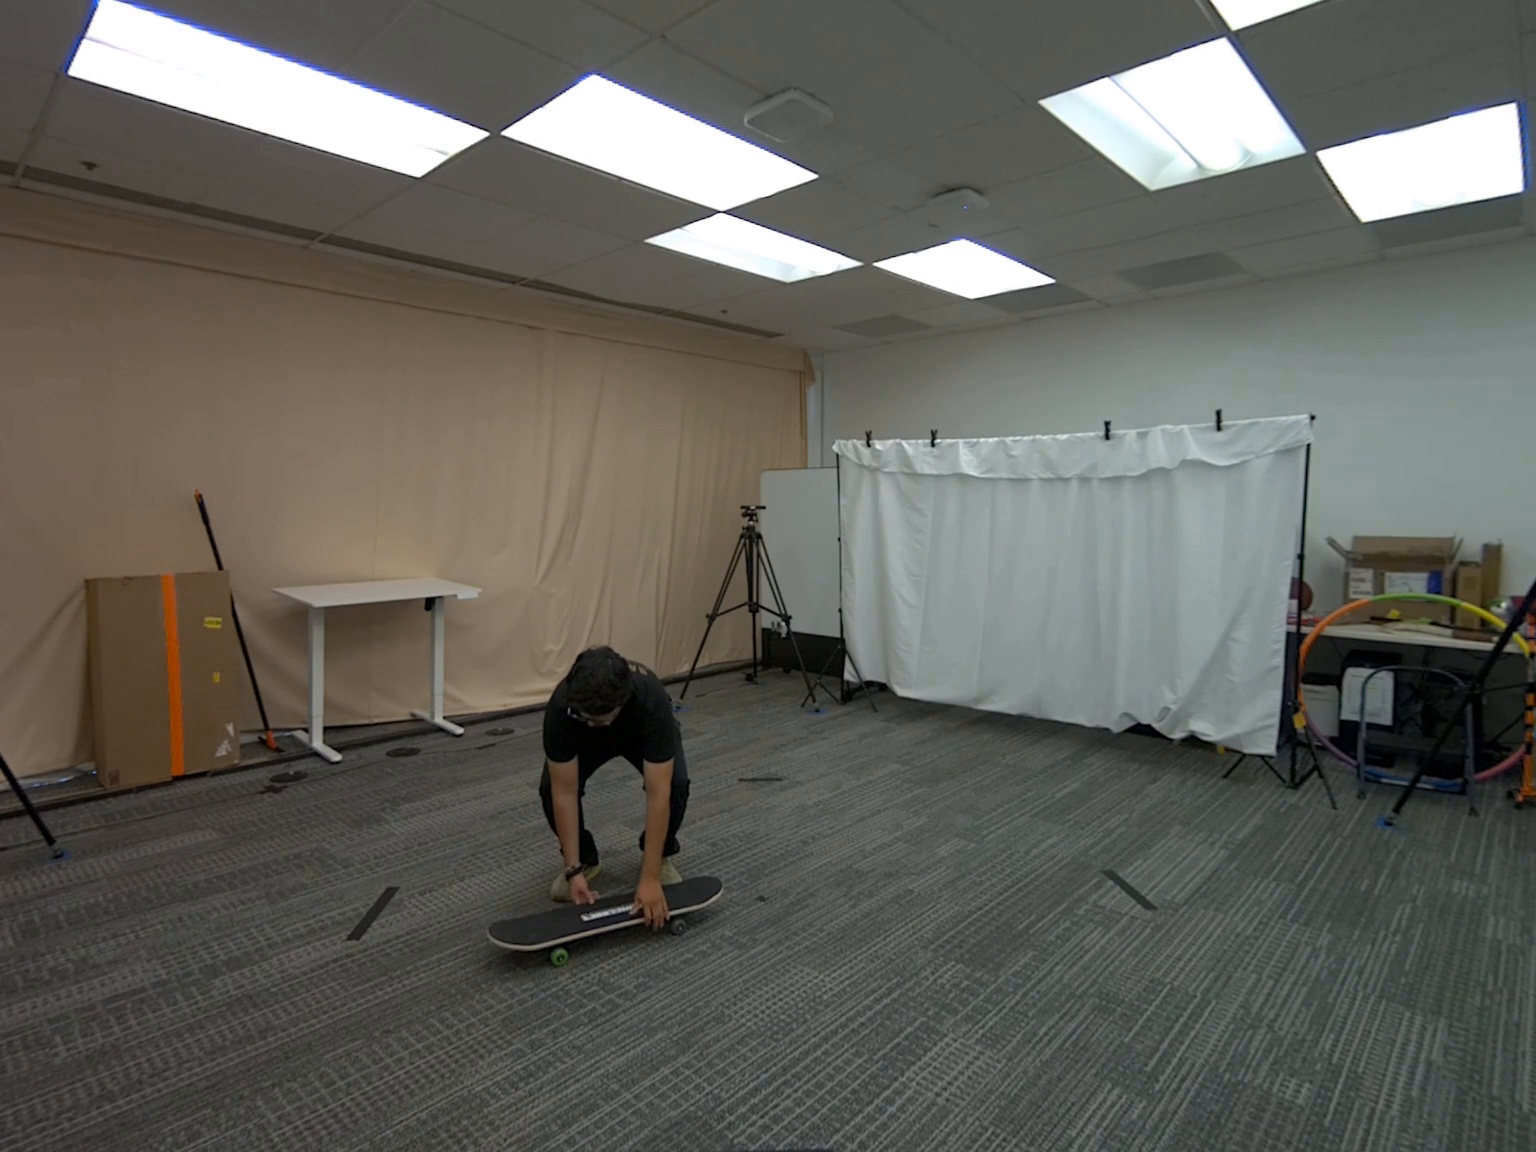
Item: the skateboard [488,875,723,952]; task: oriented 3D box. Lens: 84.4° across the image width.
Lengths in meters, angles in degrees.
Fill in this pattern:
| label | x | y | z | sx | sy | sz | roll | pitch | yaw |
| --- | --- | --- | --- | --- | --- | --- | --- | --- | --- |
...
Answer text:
| label | x | y | z | sx | sy | sz | roll | pitch | yaw |
| --- | --- | --- | --- | --- | --- | --- | --- | --- | --- |
| skateboard | -0.498 | 1.105 | 2.714 | 0.766 | 0.110 | 0.199 | -3 | 5 | -27 |
